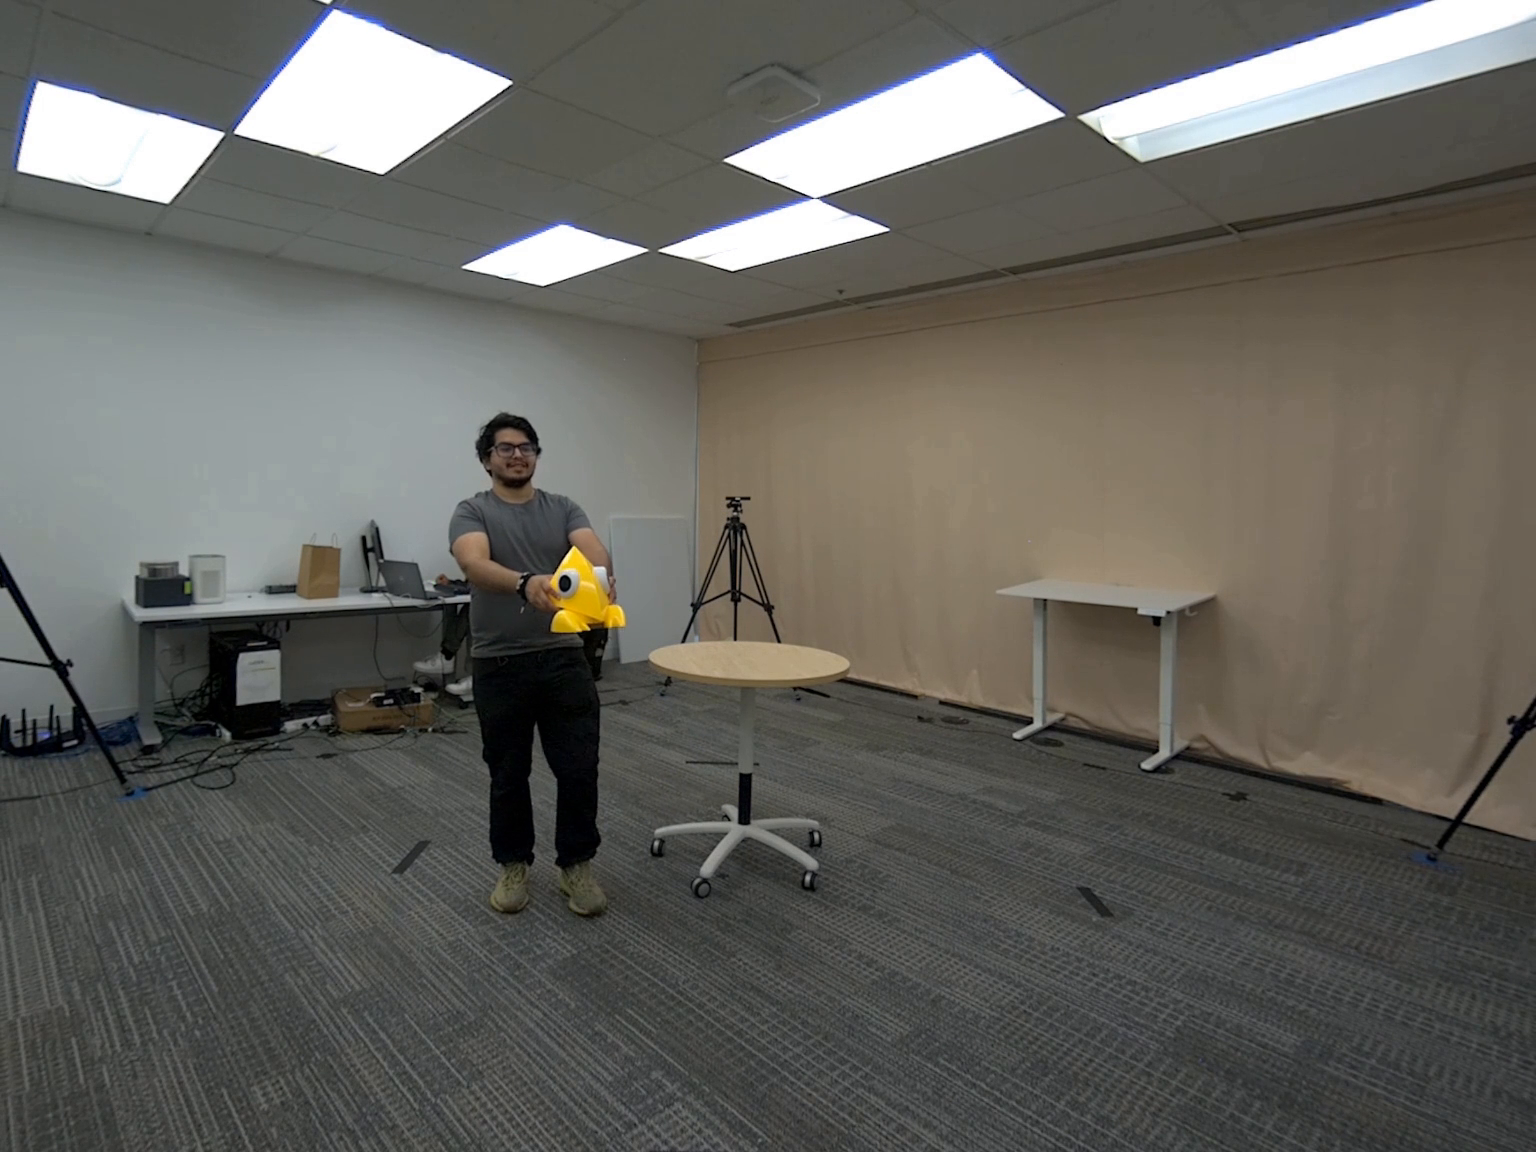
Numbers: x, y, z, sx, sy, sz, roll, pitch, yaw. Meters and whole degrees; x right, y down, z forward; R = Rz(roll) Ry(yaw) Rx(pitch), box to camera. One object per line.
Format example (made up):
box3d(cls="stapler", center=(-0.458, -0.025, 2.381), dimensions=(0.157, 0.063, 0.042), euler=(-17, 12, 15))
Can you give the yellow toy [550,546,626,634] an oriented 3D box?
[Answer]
box3d(cls="yellow toy", center=(-0.518, 0.034, 2.338), dimensions=(0.200, 0.231, 0.197), euler=(-3, 0, -34))
